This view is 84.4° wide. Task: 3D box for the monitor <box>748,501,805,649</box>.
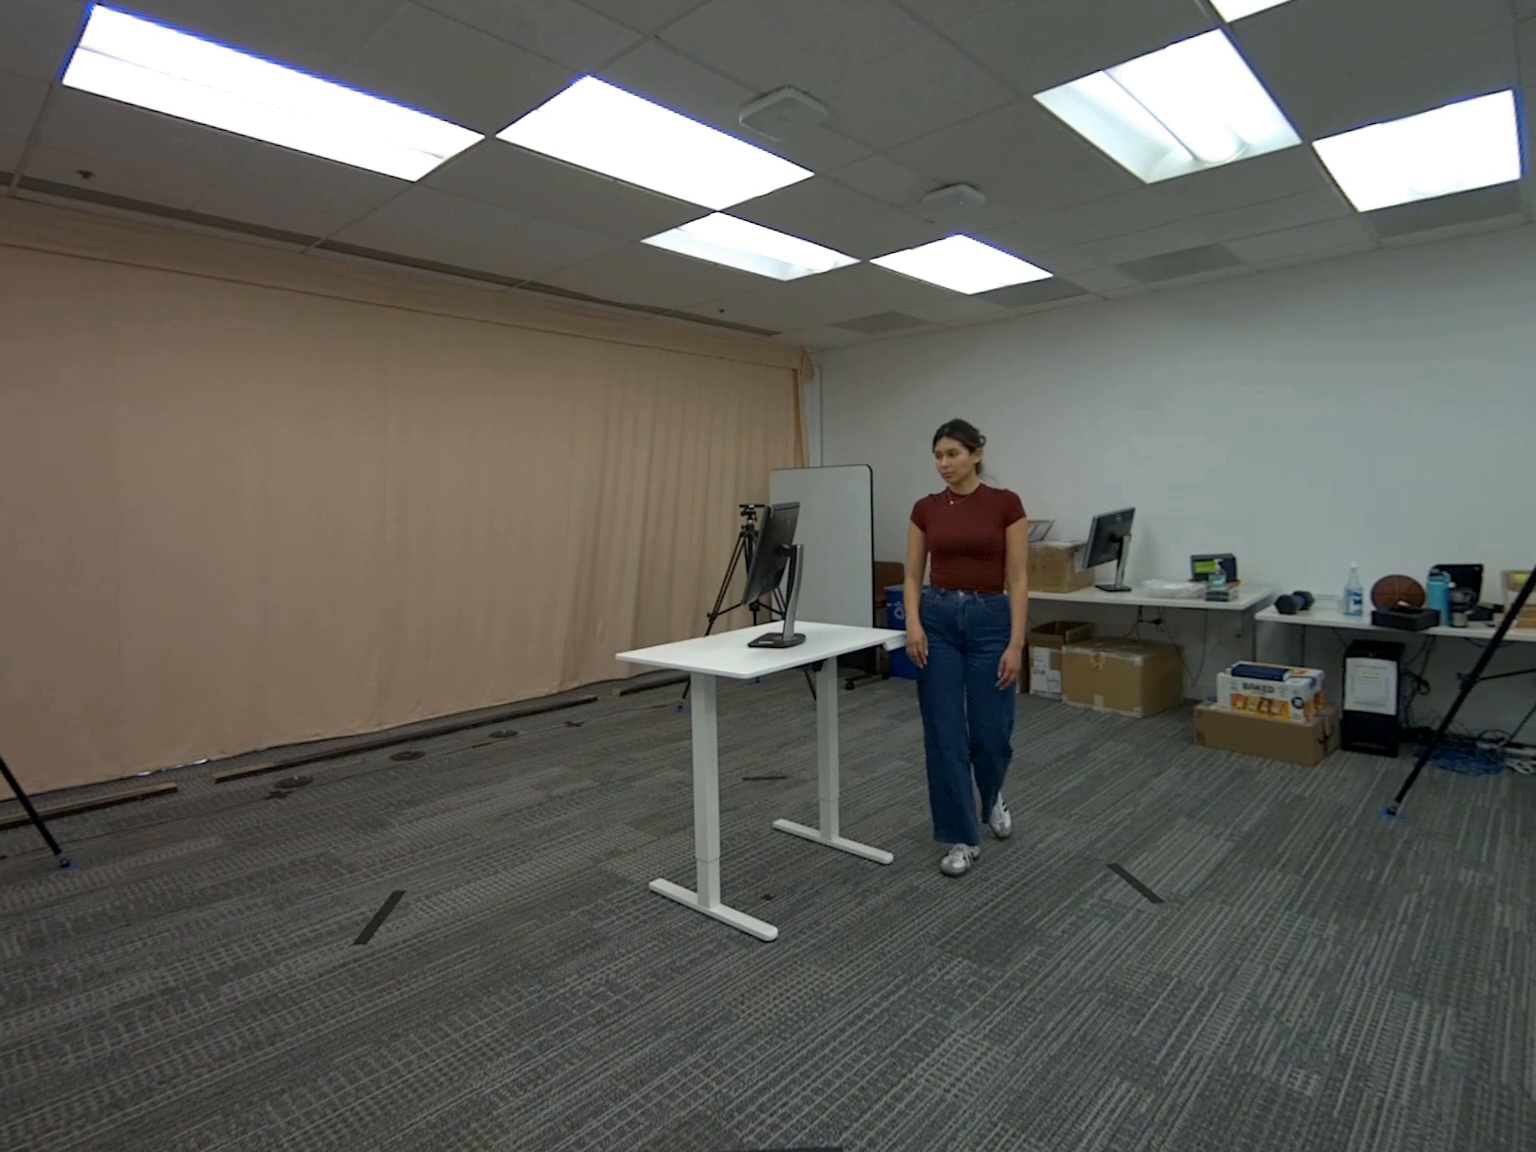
[{"bbox_3d":[0.048,-0.005,3.101,0.190,0.521,0.533,1,5,11],"label":"monitor"}]
